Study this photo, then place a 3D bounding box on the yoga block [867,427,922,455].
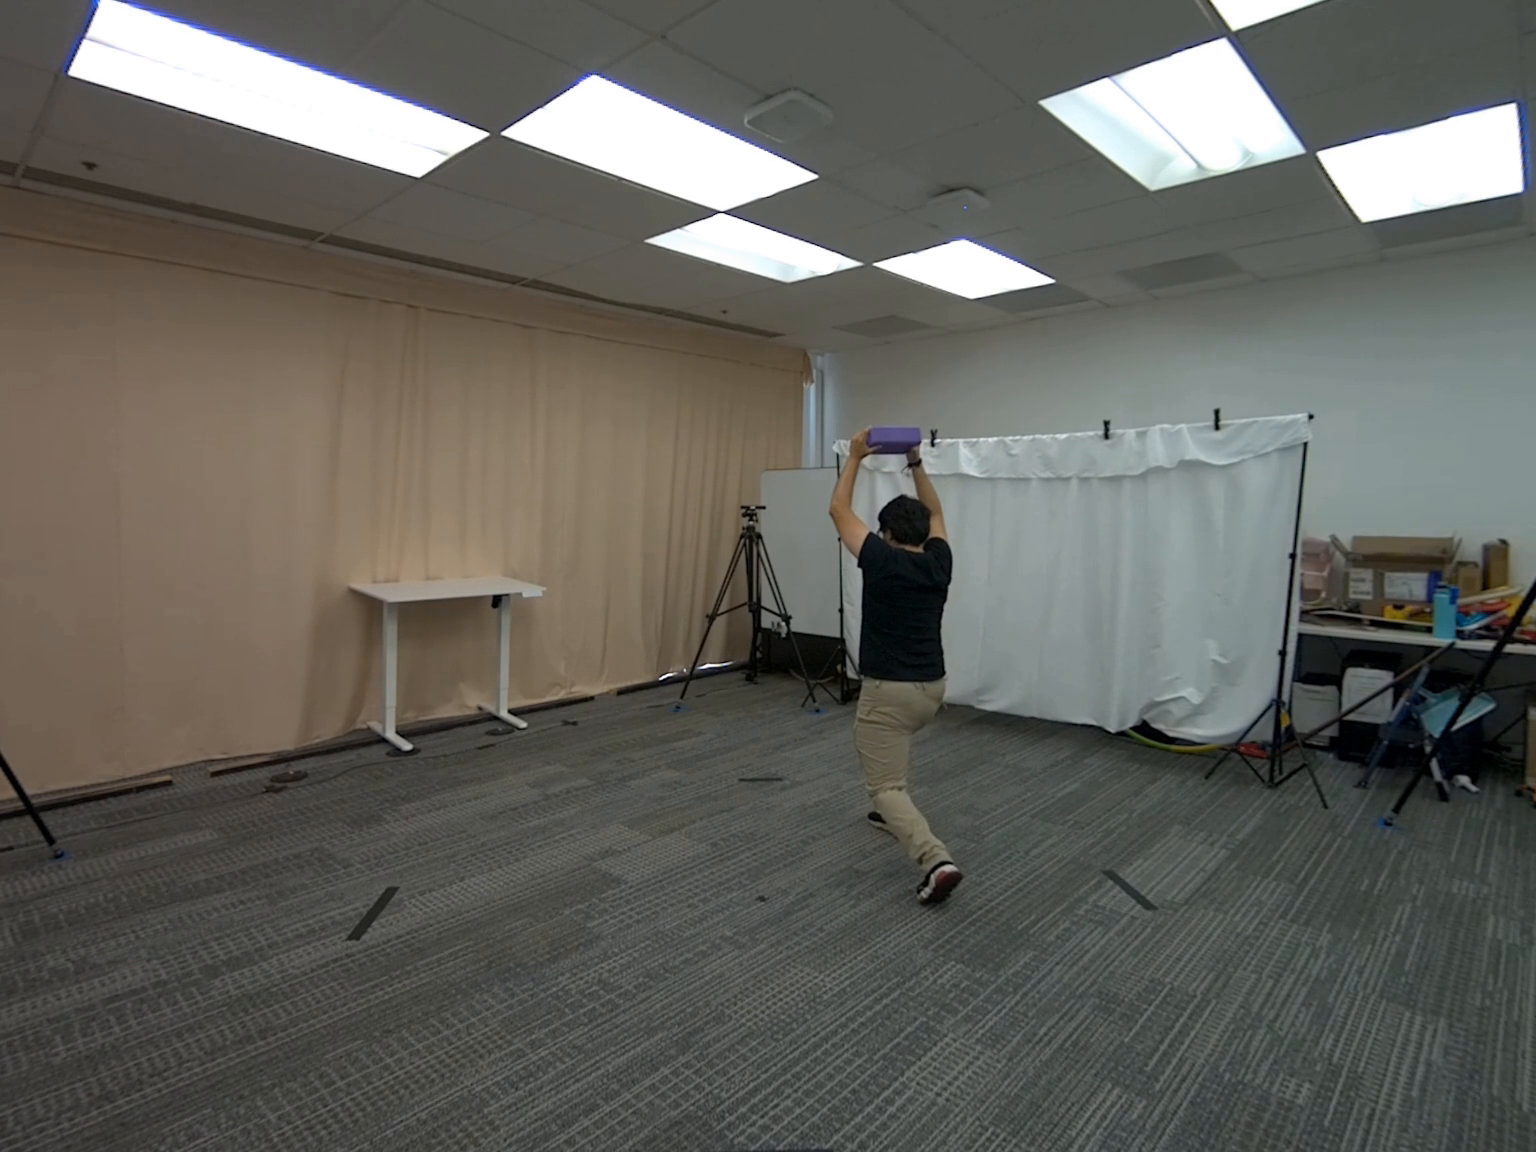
[{"bbox_3d":[0.517,-0.575,3.534,0.225,0.077,0.151,-3,-9,-18],"label":"yoga block"}]
